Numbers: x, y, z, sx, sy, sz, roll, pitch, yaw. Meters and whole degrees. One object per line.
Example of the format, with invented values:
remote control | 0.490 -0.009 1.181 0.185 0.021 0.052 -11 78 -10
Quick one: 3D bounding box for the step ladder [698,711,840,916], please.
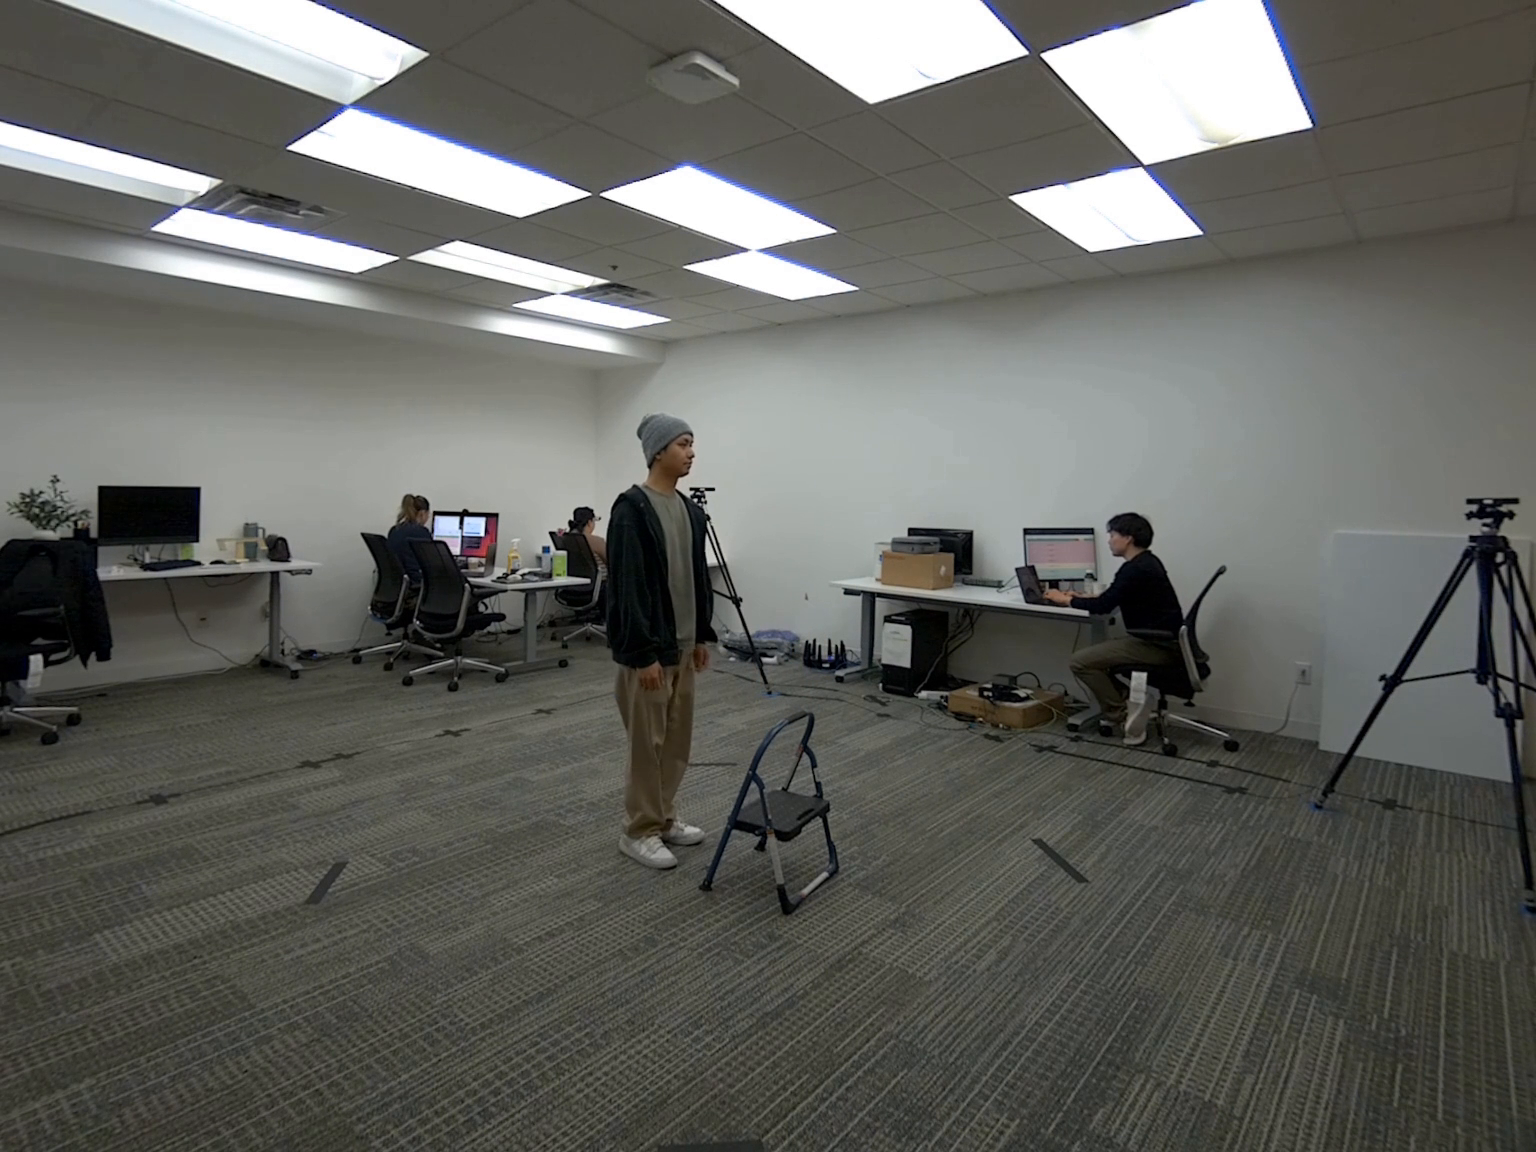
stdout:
step ladder | 0.014 0.777 3.017 0.359 0.604 0.420 3 4 29
